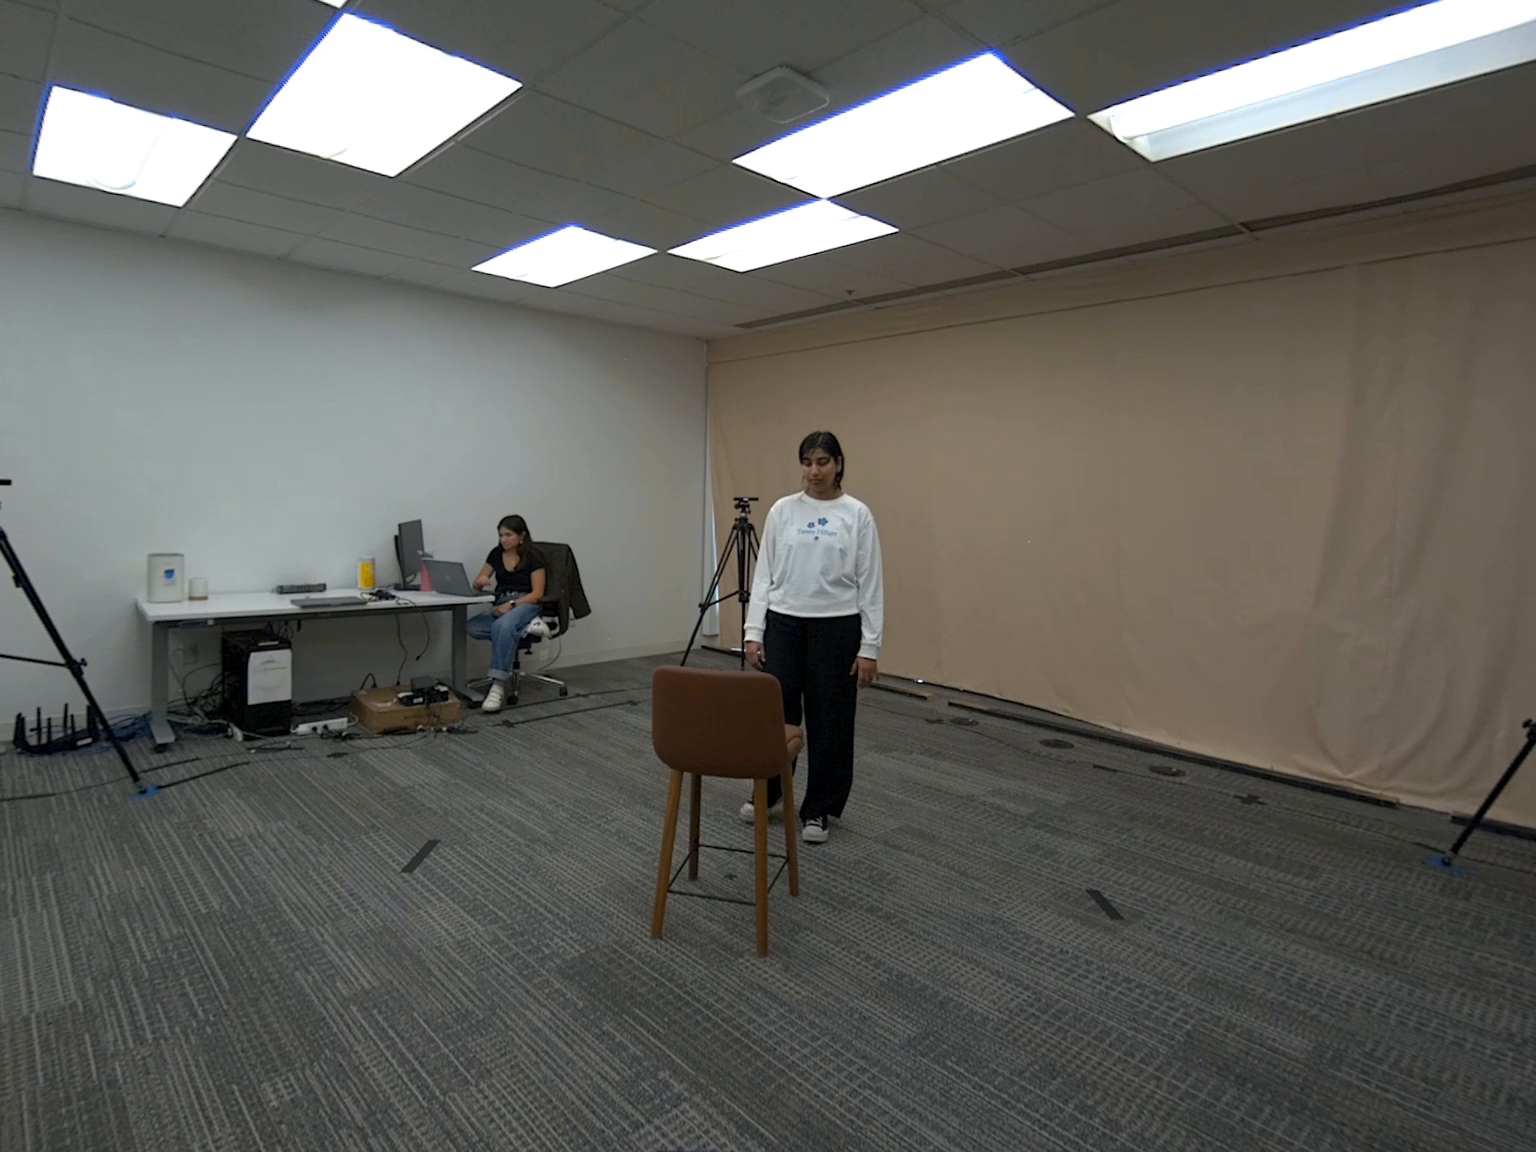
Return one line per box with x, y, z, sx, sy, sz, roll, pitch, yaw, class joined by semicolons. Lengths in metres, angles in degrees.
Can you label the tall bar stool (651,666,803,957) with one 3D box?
-0.136;0.703;2.792;0.462;0.886;0.463;2;5;16;tall bar stool
